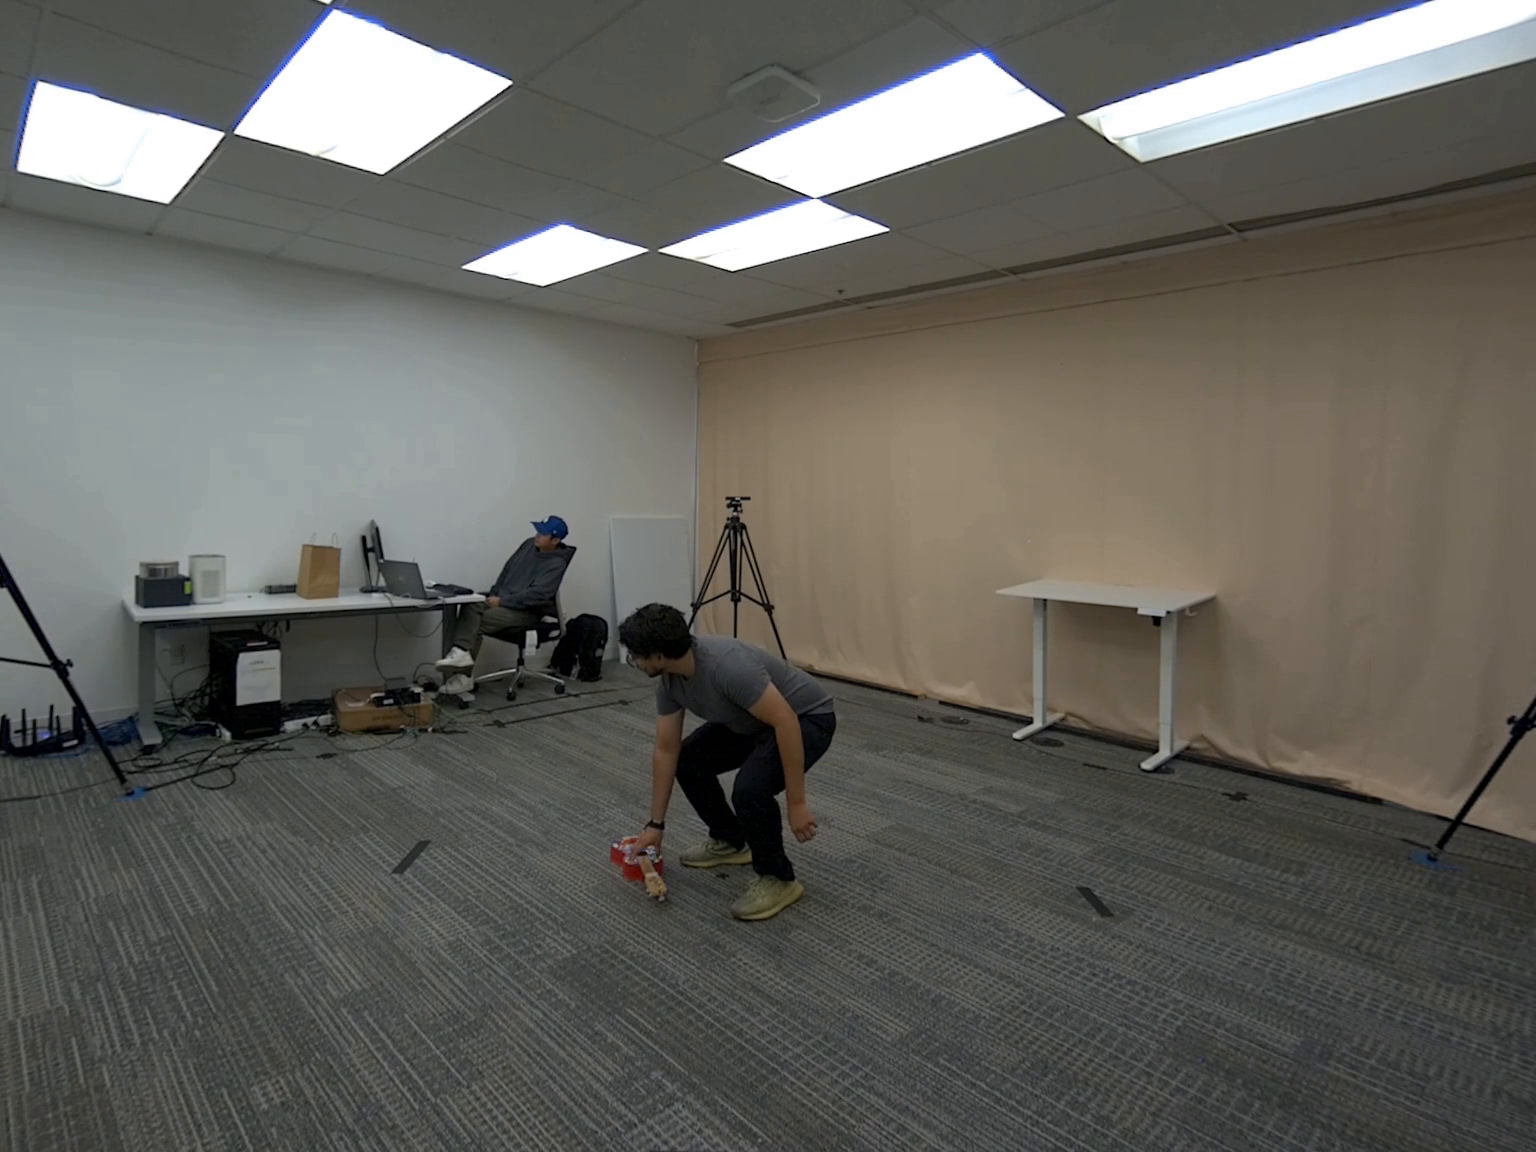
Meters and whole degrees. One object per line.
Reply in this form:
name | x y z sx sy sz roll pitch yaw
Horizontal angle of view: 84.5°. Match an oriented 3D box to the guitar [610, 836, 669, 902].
guitar | -0.480 1.067 3.065 0.191 0.070 0.503 0 6 -10
